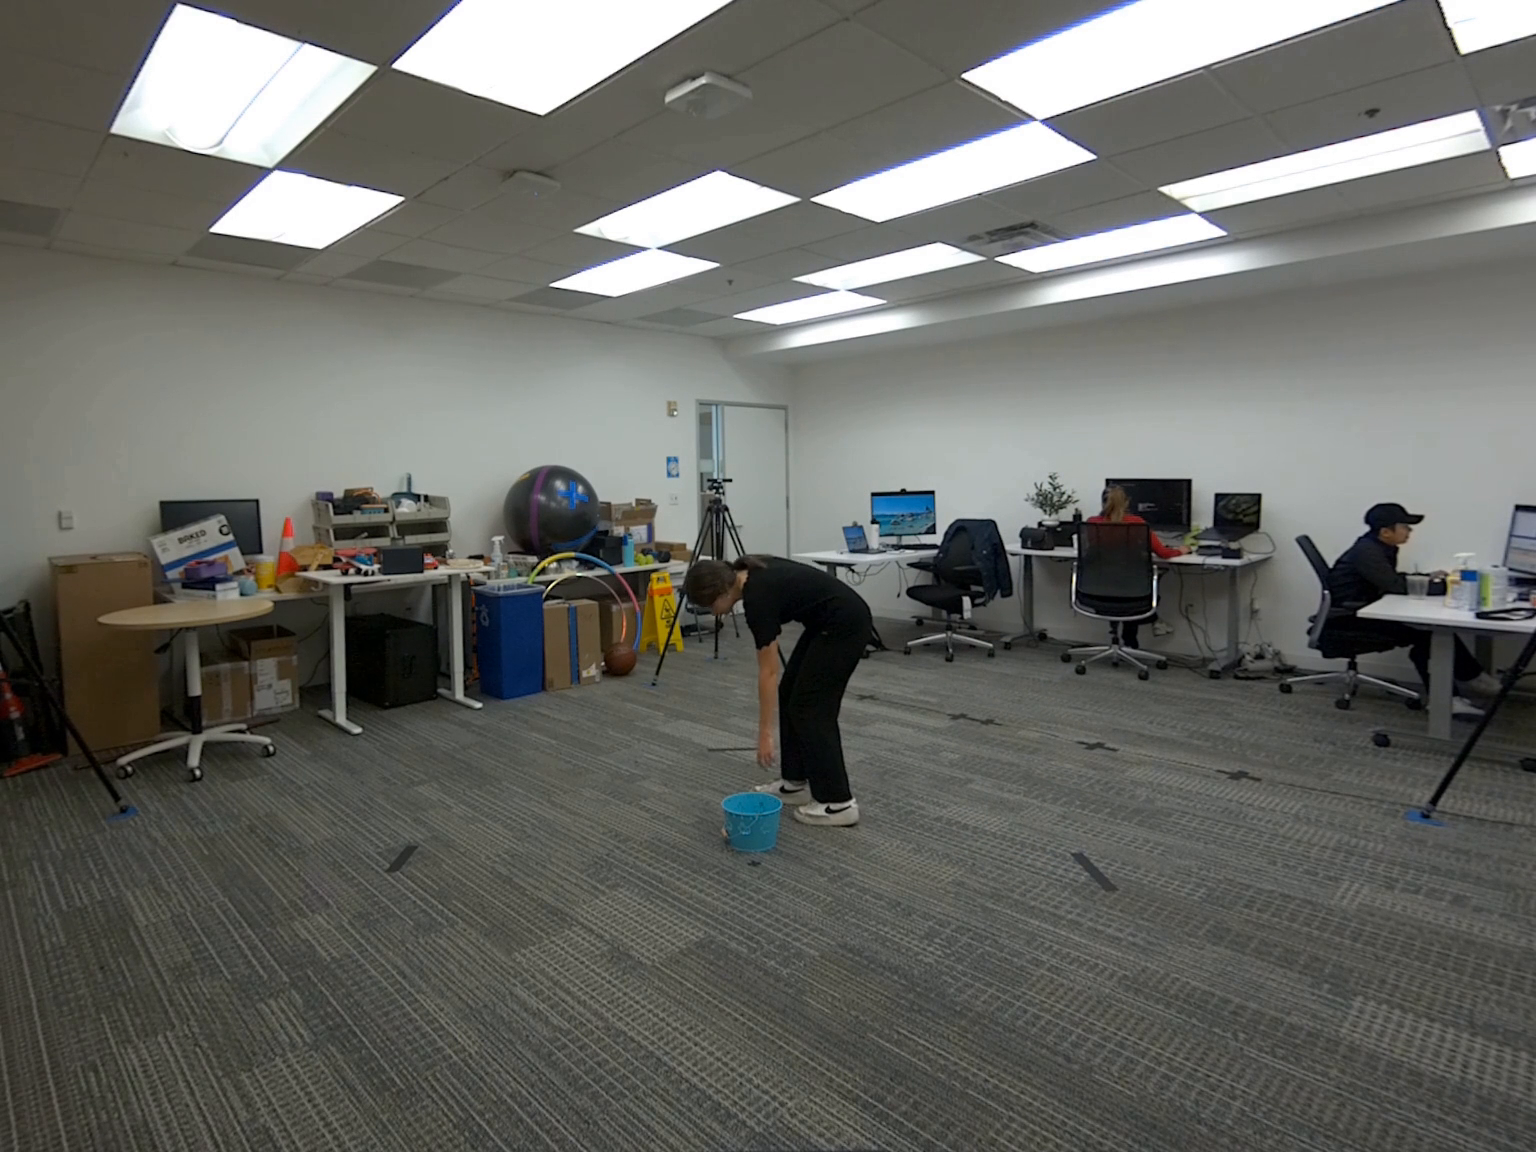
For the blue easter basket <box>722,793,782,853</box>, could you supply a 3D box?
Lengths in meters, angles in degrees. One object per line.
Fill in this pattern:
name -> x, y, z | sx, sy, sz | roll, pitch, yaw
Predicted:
blue easter basket -> -0.064, 0.943, 3.286 | 0.243, 0.155, 0.245 | -1, 5, -2
